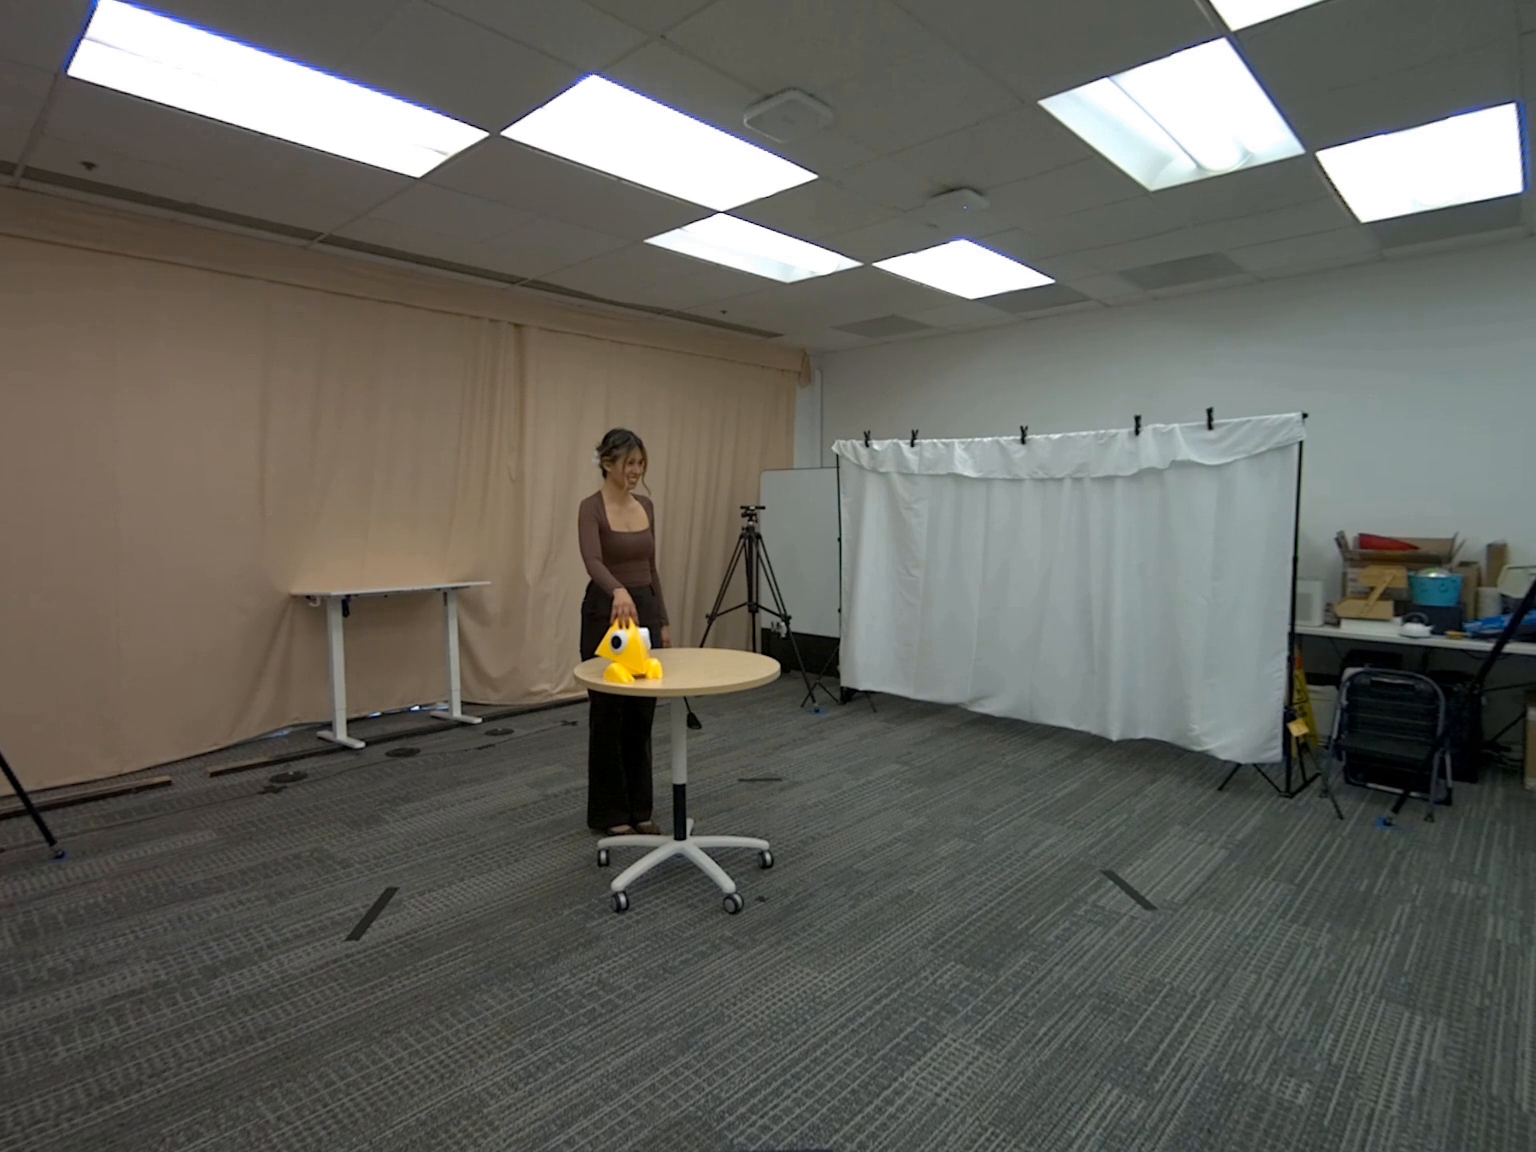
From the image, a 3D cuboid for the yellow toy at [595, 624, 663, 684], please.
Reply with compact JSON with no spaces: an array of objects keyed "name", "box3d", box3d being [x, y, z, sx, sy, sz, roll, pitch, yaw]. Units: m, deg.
[{"name":"yellow toy","box3d":[-0.474,0.240,2.960,0.199,0.230,0.199,-4,5,-33]}]
